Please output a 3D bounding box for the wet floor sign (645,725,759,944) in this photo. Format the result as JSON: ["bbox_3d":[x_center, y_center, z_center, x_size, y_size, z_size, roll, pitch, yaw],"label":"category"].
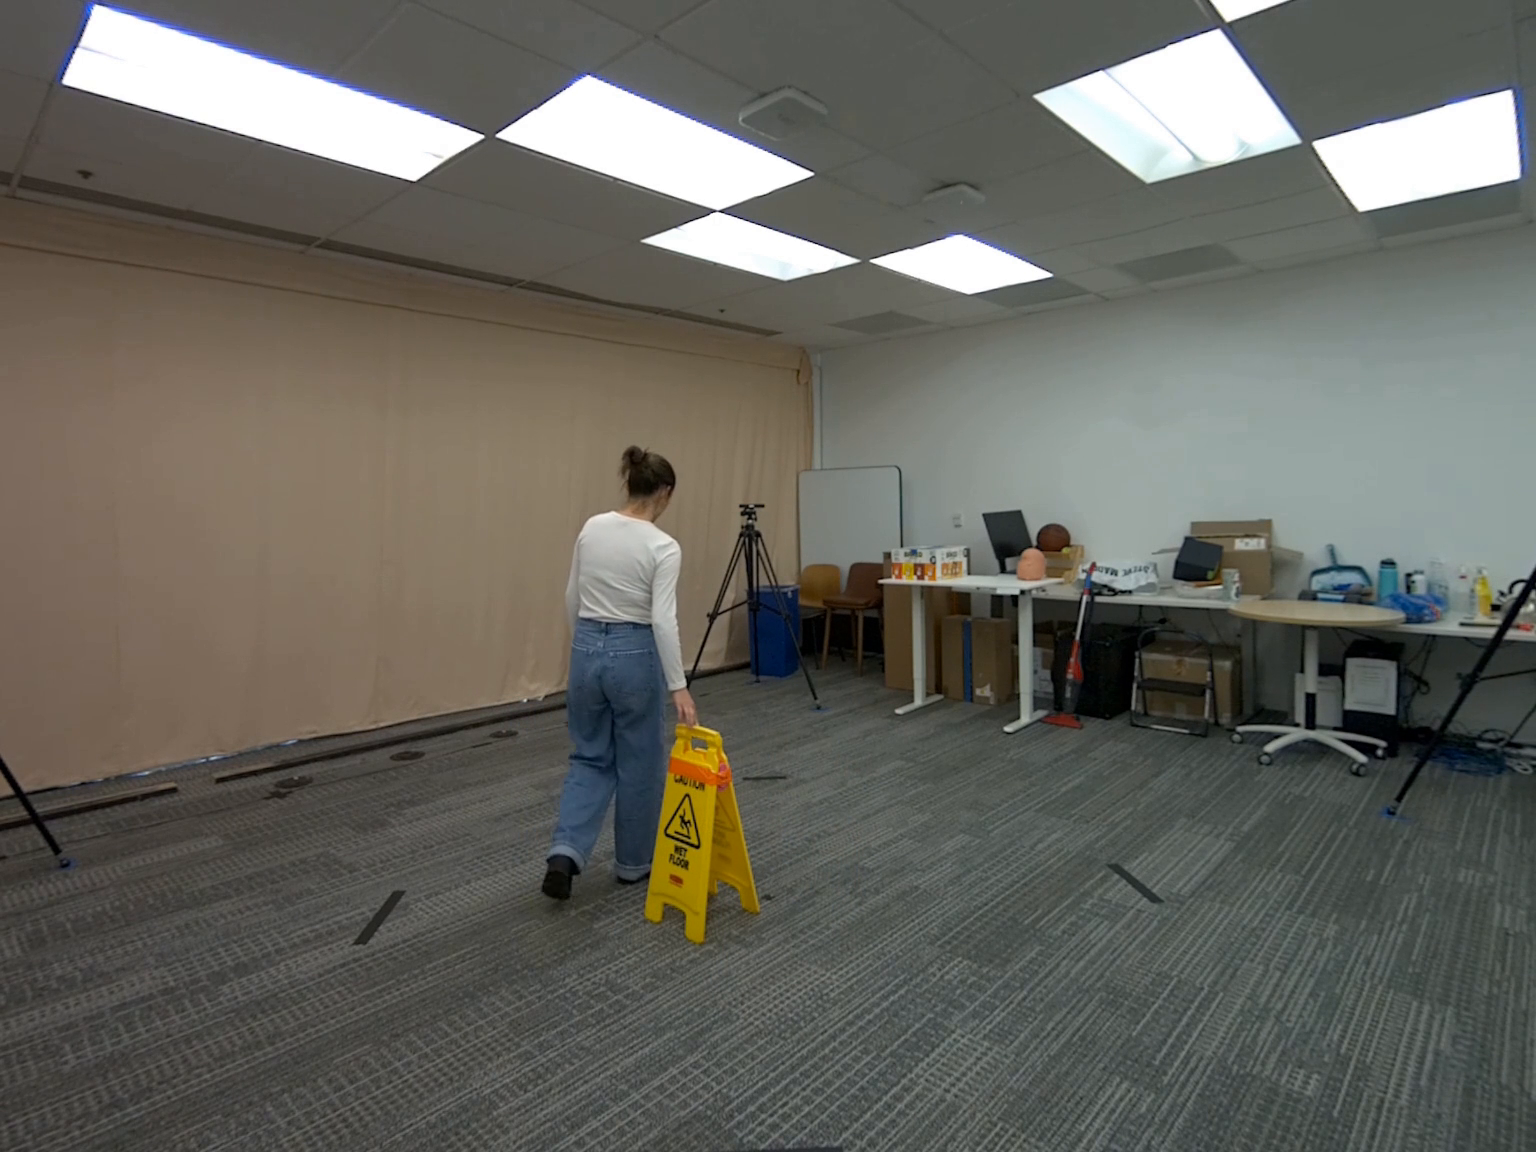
[{"bbox_3d":[-0.227,0.831,2.845,0.291,0.645,0.281,1,4,43],"label":"wet floor sign"}]
